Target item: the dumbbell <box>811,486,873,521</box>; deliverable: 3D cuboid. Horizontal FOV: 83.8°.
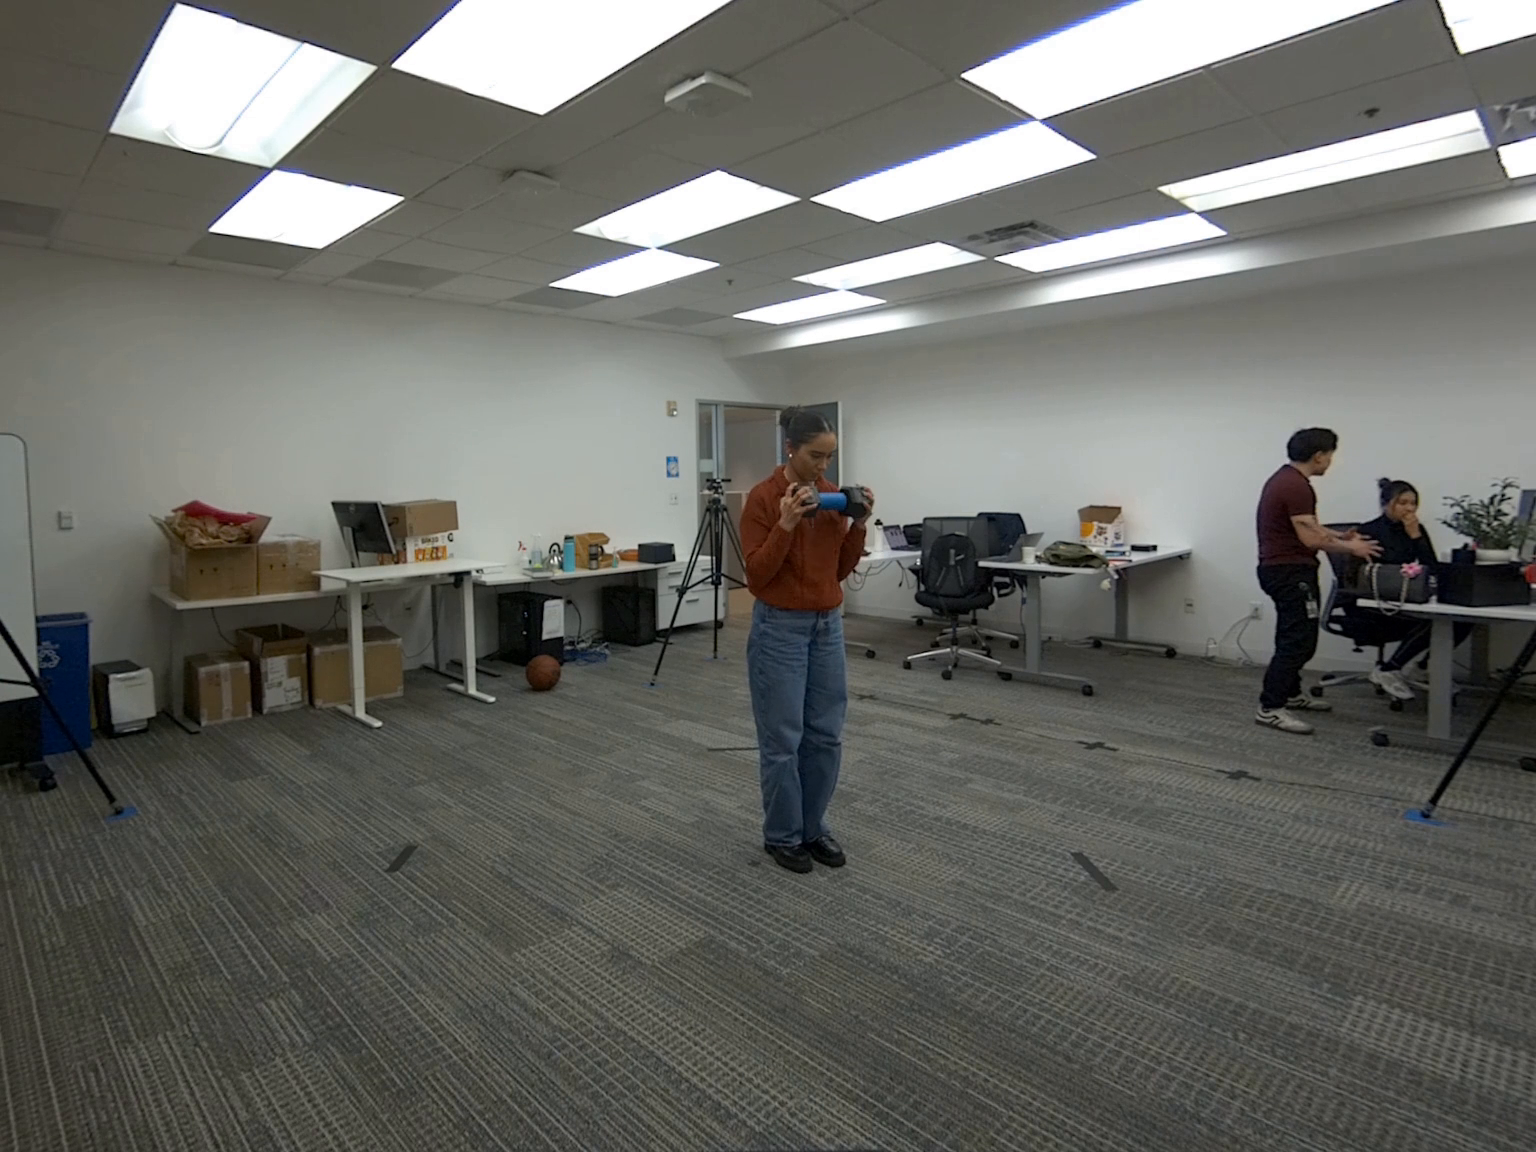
[{"bbox_3d":[0.204,-0.246,2.960,0.286,0.121,0.113,1,41,-30],"label":"dumbbell"}]
